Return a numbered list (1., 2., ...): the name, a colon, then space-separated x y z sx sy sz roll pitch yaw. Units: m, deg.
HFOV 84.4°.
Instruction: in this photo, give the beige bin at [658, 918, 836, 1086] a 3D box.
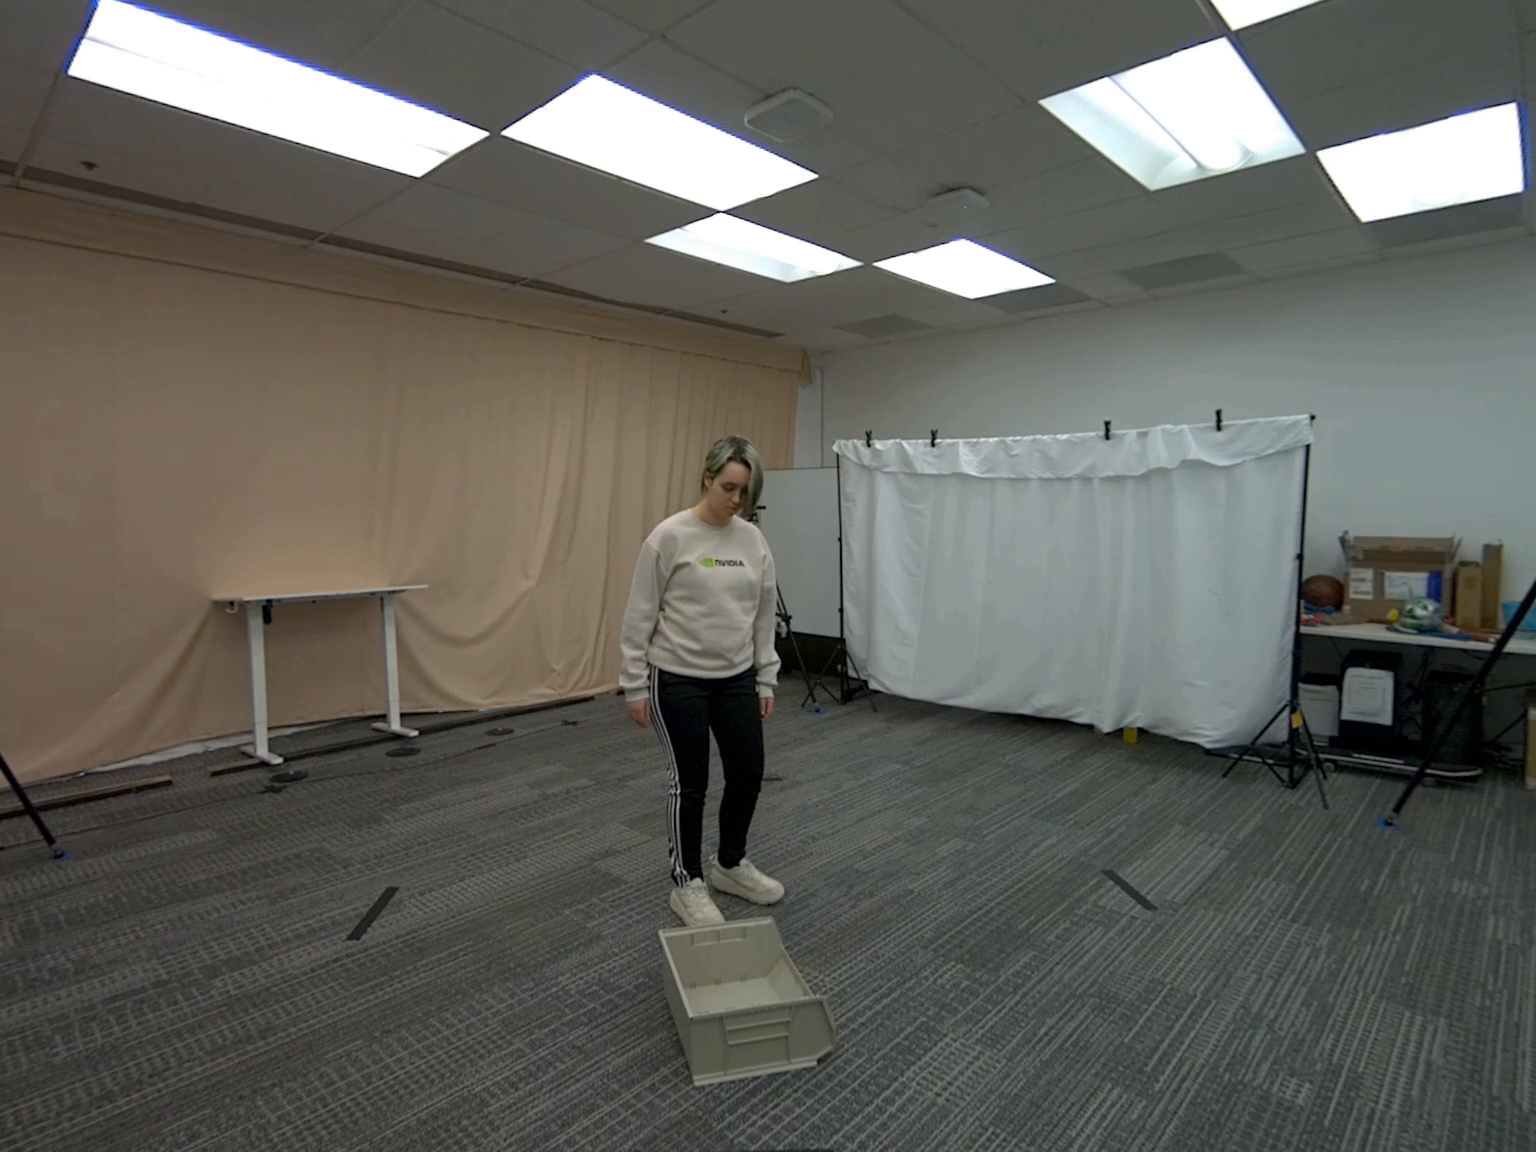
1. beige bin: -0.067 1.115 2.253 0.371 0.188 0.430 -2 6 -16
